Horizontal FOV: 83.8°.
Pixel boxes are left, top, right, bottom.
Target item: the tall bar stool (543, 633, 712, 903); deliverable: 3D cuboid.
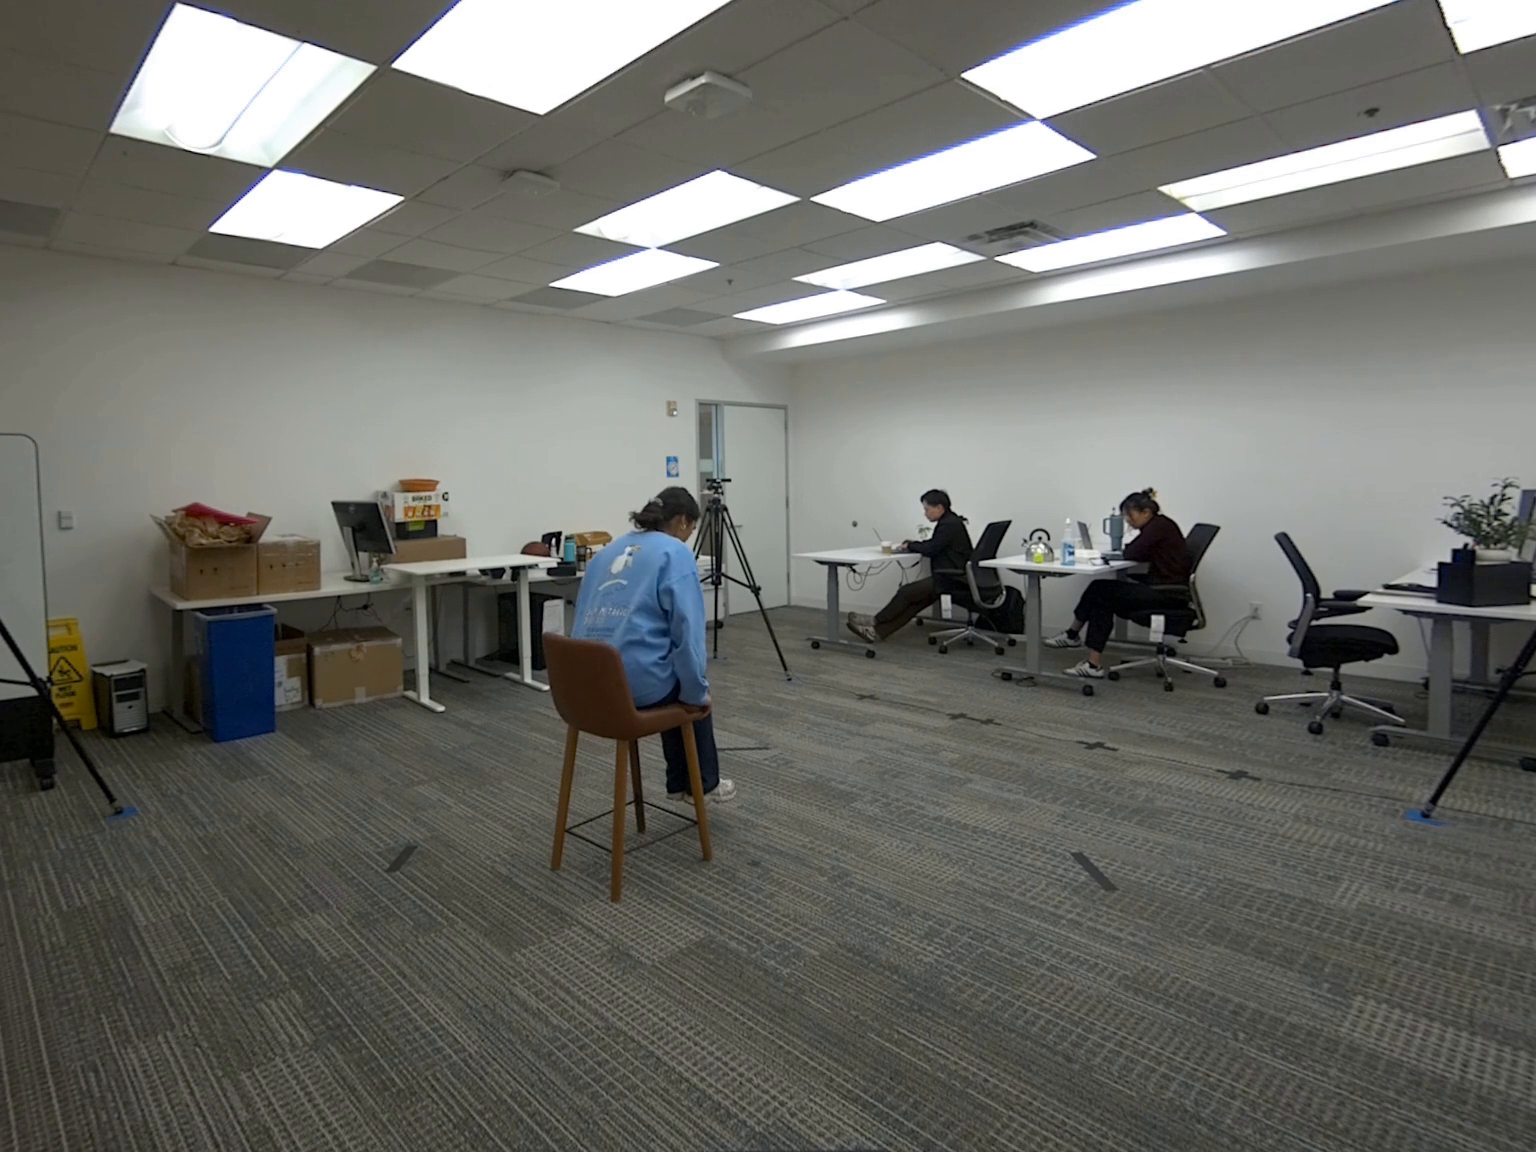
[{"bbox_3d":[-0.521,0.620,3.088,0.470,0.885,0.456,3,8,43],"label":"tall bar stool"}]
